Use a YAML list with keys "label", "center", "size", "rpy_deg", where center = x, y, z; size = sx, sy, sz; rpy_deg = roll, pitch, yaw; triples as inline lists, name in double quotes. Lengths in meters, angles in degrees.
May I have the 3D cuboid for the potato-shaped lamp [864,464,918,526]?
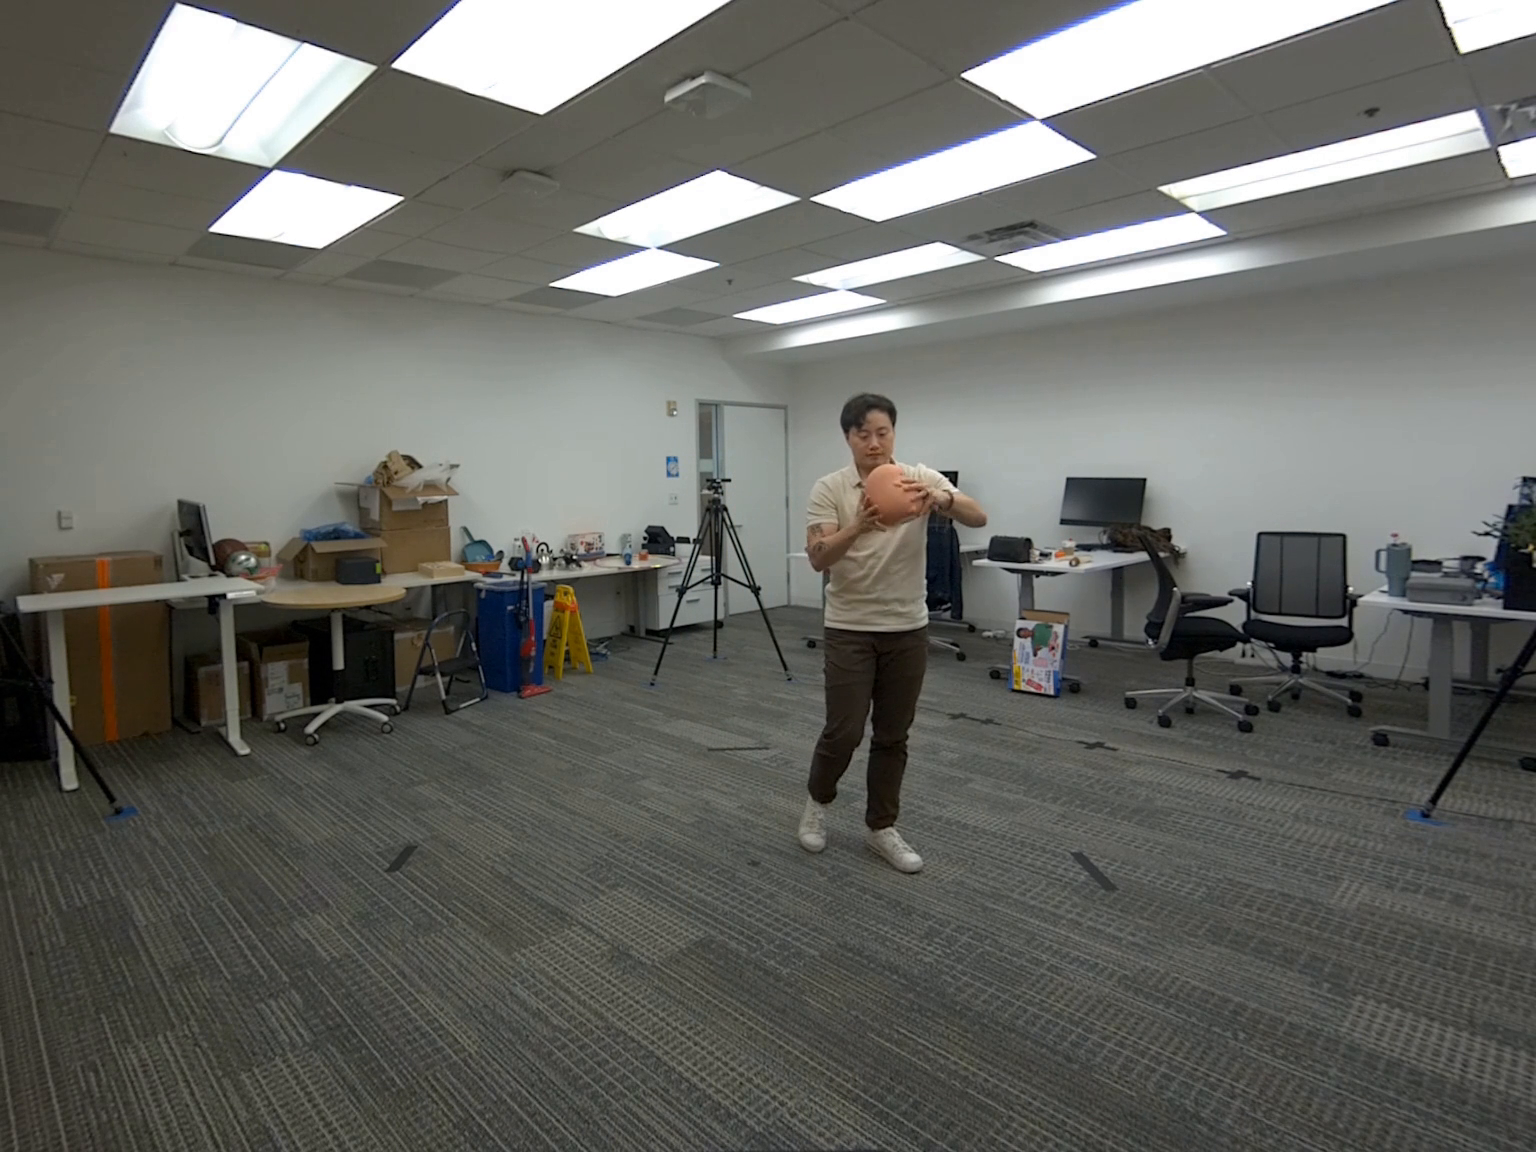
- label: "potato-shaped lamp"
  center: [0.410, -0.262, 2.744]
  size: [0.174, 0.200, 0.161]
  rpy_deg: [-21, -9, 30]
